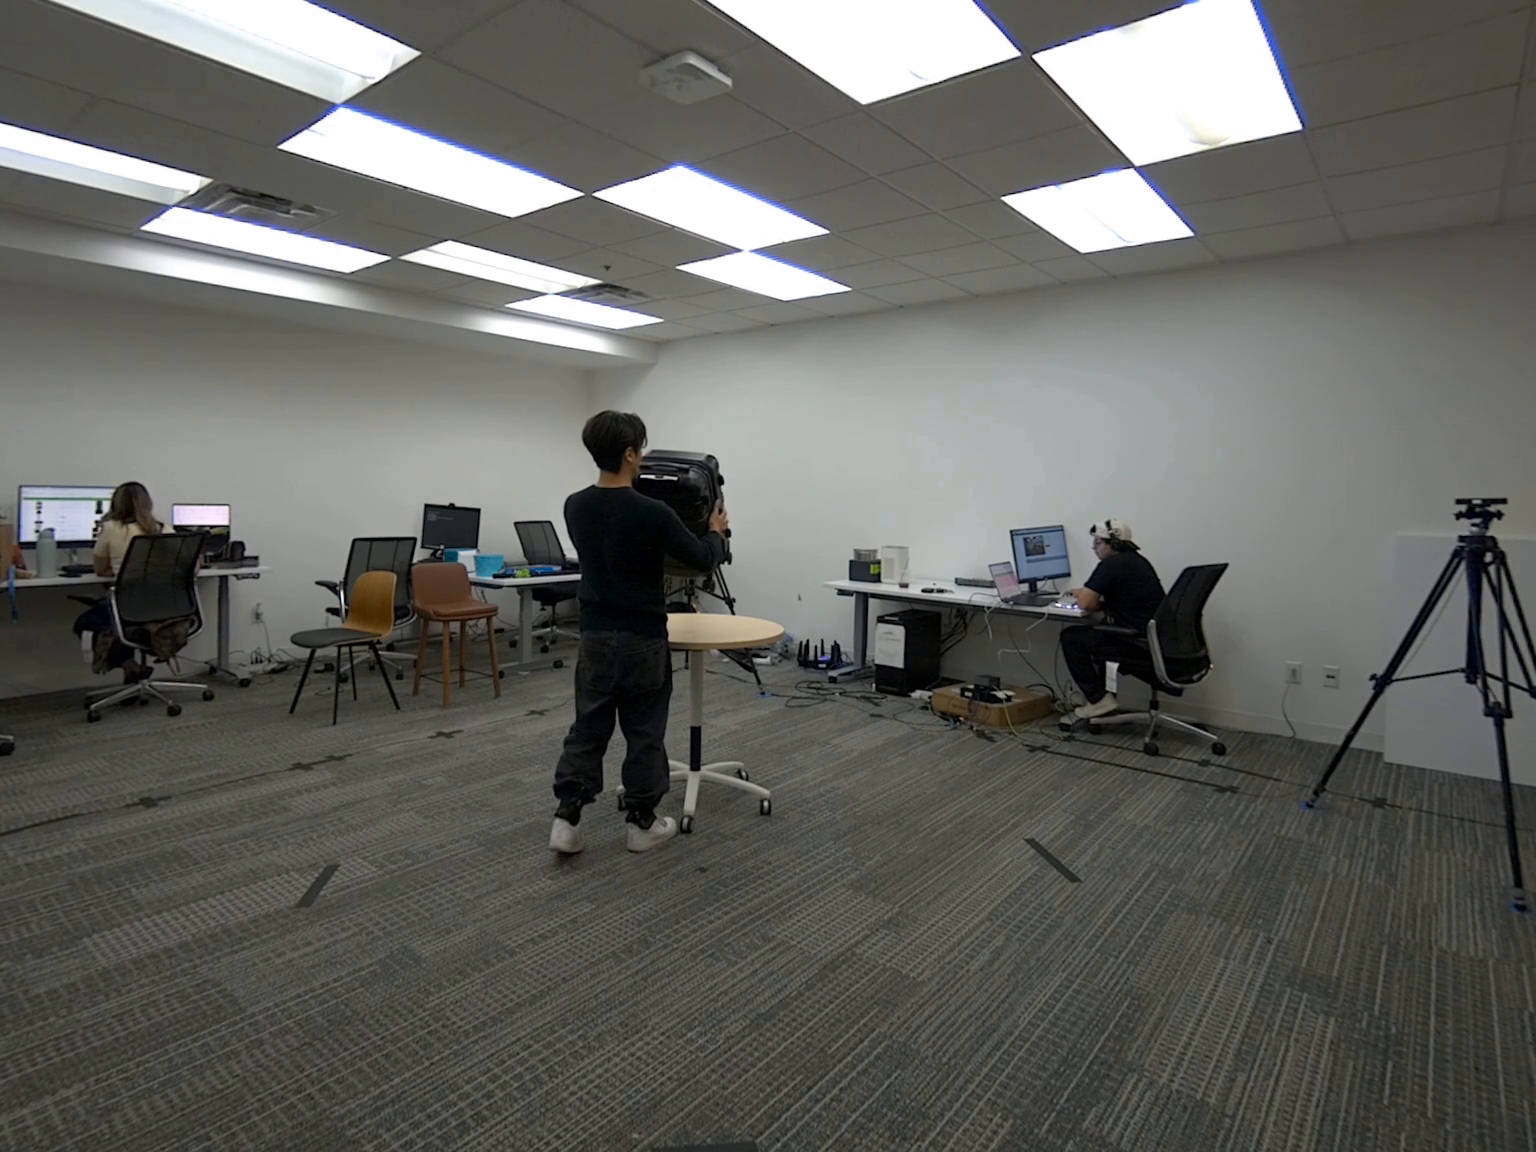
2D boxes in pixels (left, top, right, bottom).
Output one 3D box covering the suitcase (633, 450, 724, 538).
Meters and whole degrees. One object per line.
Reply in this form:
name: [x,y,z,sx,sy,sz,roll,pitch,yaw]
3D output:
suitcase: [-0.389,-0.249,3.546,0.385,0.533,0.249,6,35,22]
